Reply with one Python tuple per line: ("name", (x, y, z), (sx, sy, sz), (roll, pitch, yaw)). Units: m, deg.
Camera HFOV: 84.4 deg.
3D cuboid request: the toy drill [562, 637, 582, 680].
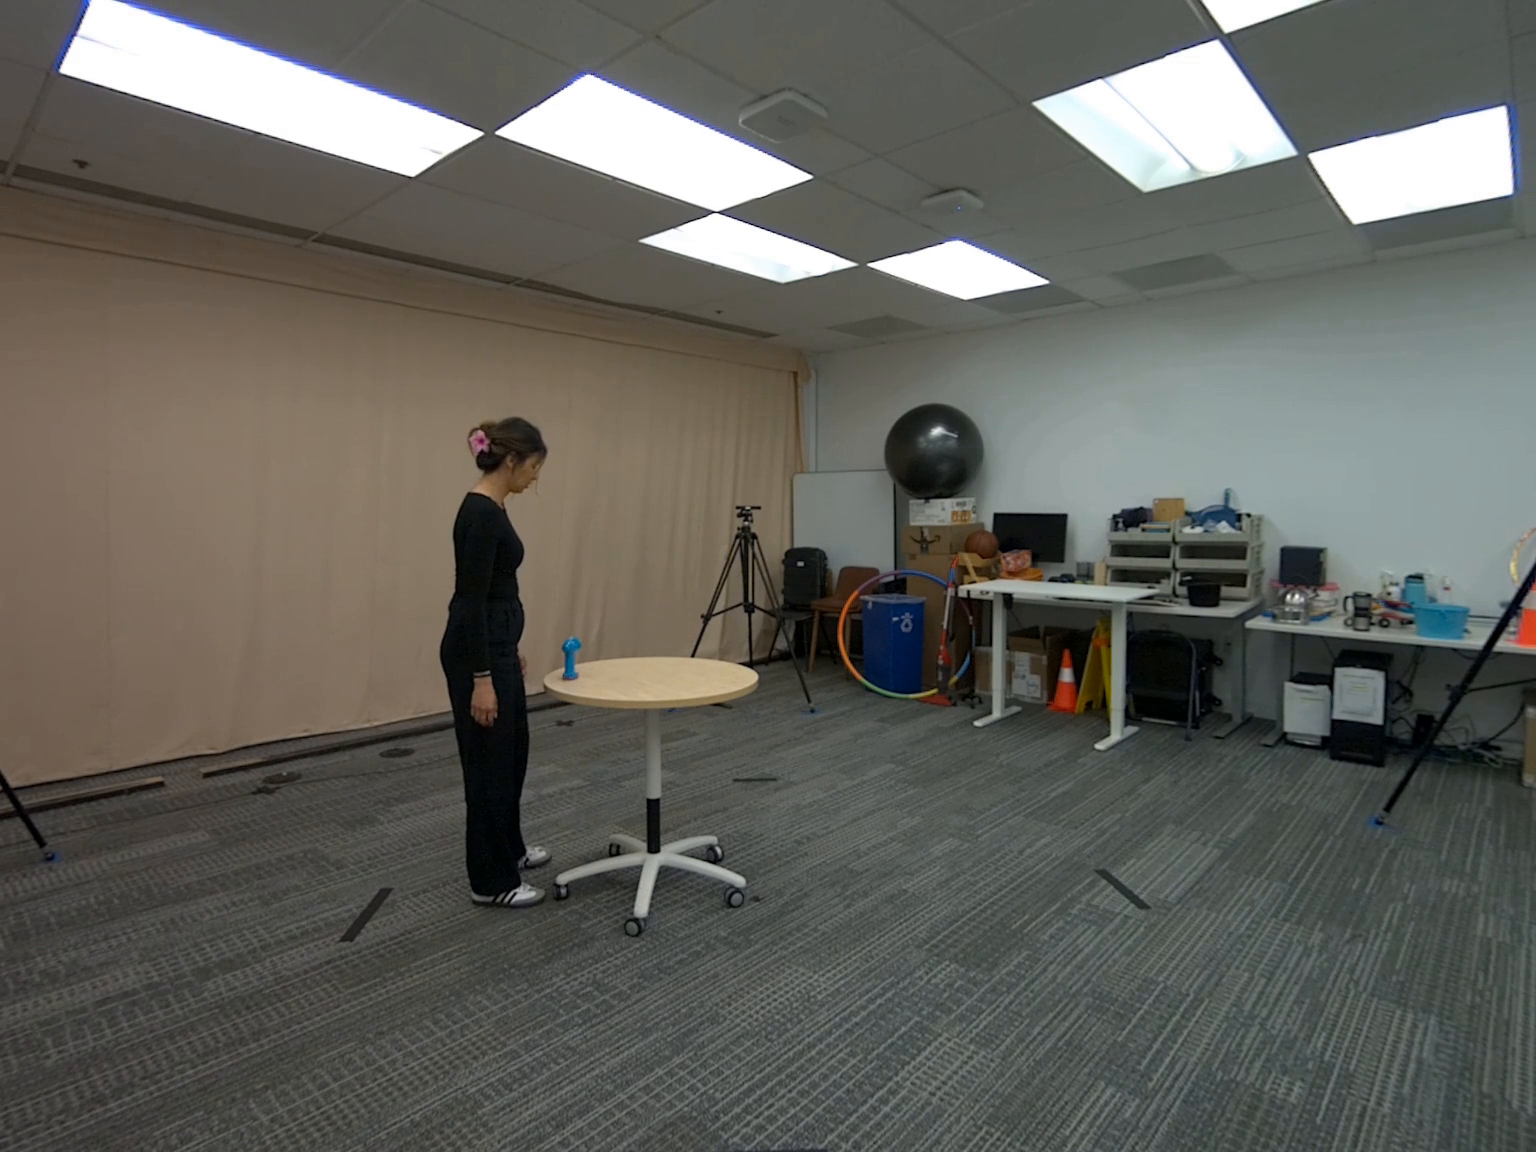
("toy drill", (-0.702, 0.289, 3.014), (0.061, 0.146, 0.170), (0, 4, 0))
